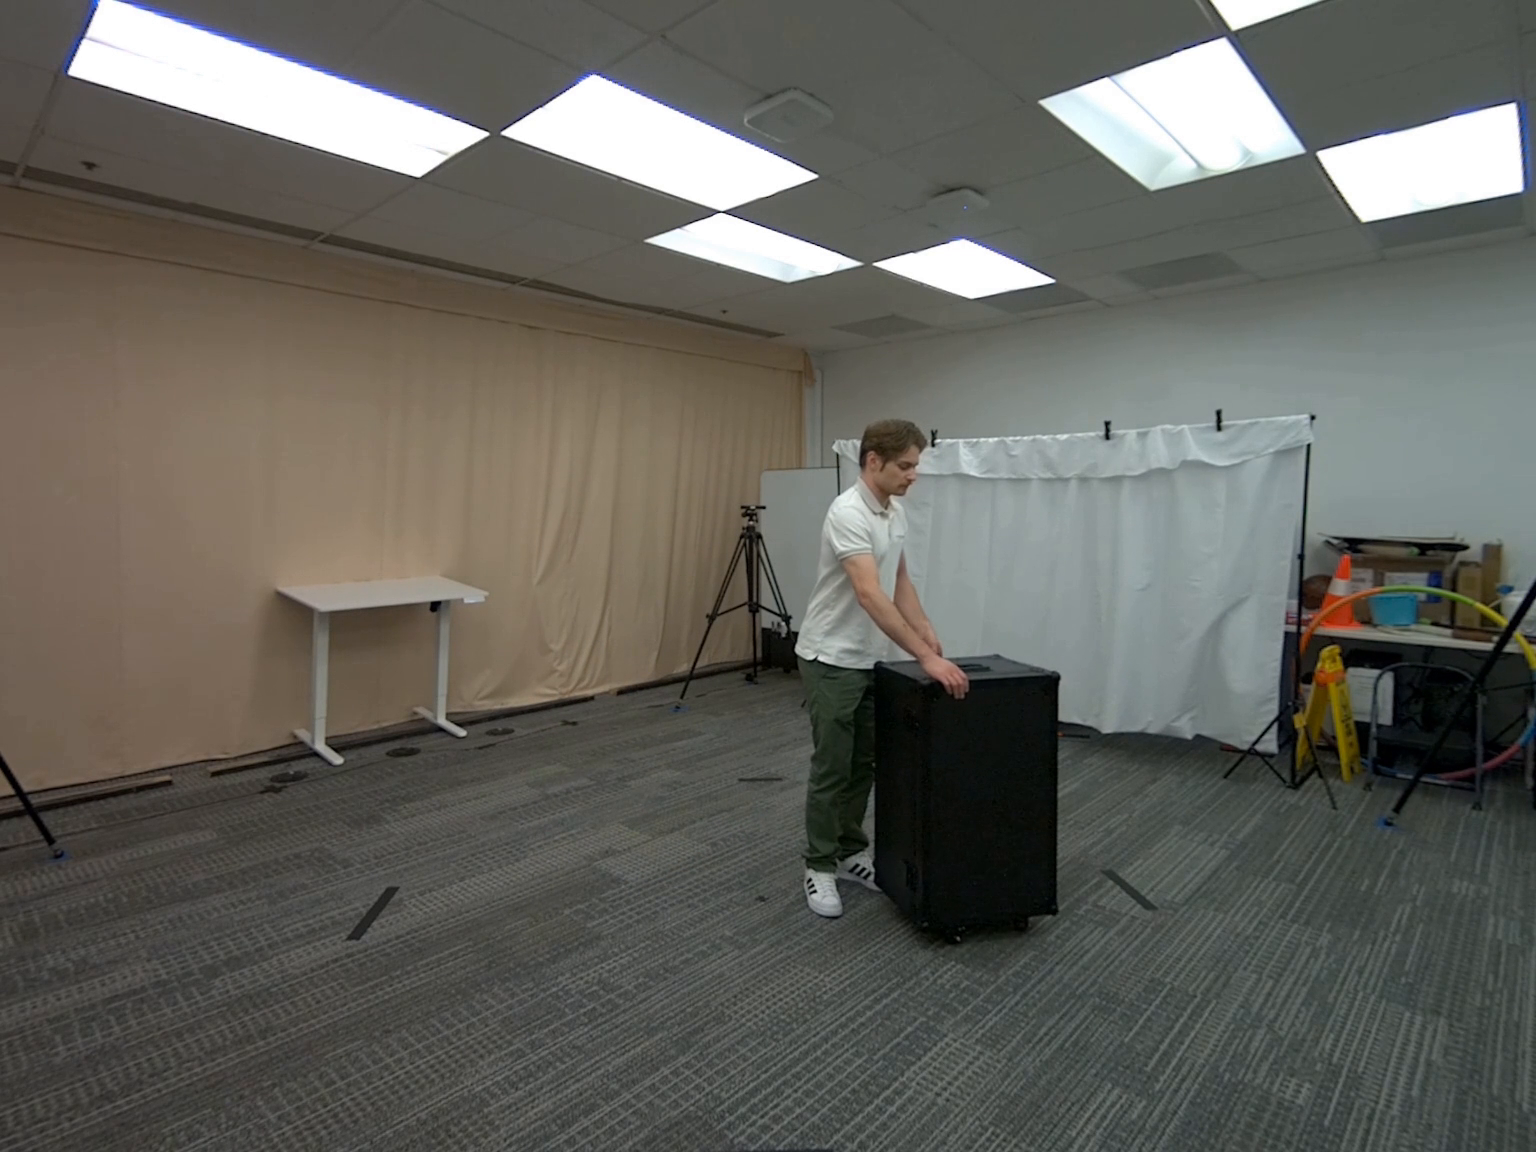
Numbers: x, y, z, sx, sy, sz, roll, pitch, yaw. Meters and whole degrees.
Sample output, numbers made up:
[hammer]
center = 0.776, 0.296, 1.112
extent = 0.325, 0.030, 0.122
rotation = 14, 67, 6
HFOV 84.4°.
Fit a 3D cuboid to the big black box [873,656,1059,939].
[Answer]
[big black box]
center = 0.655, 0.731, 2.809
extent = 0.516, 0.867, 0.391
rotation = -1, 3, -14
